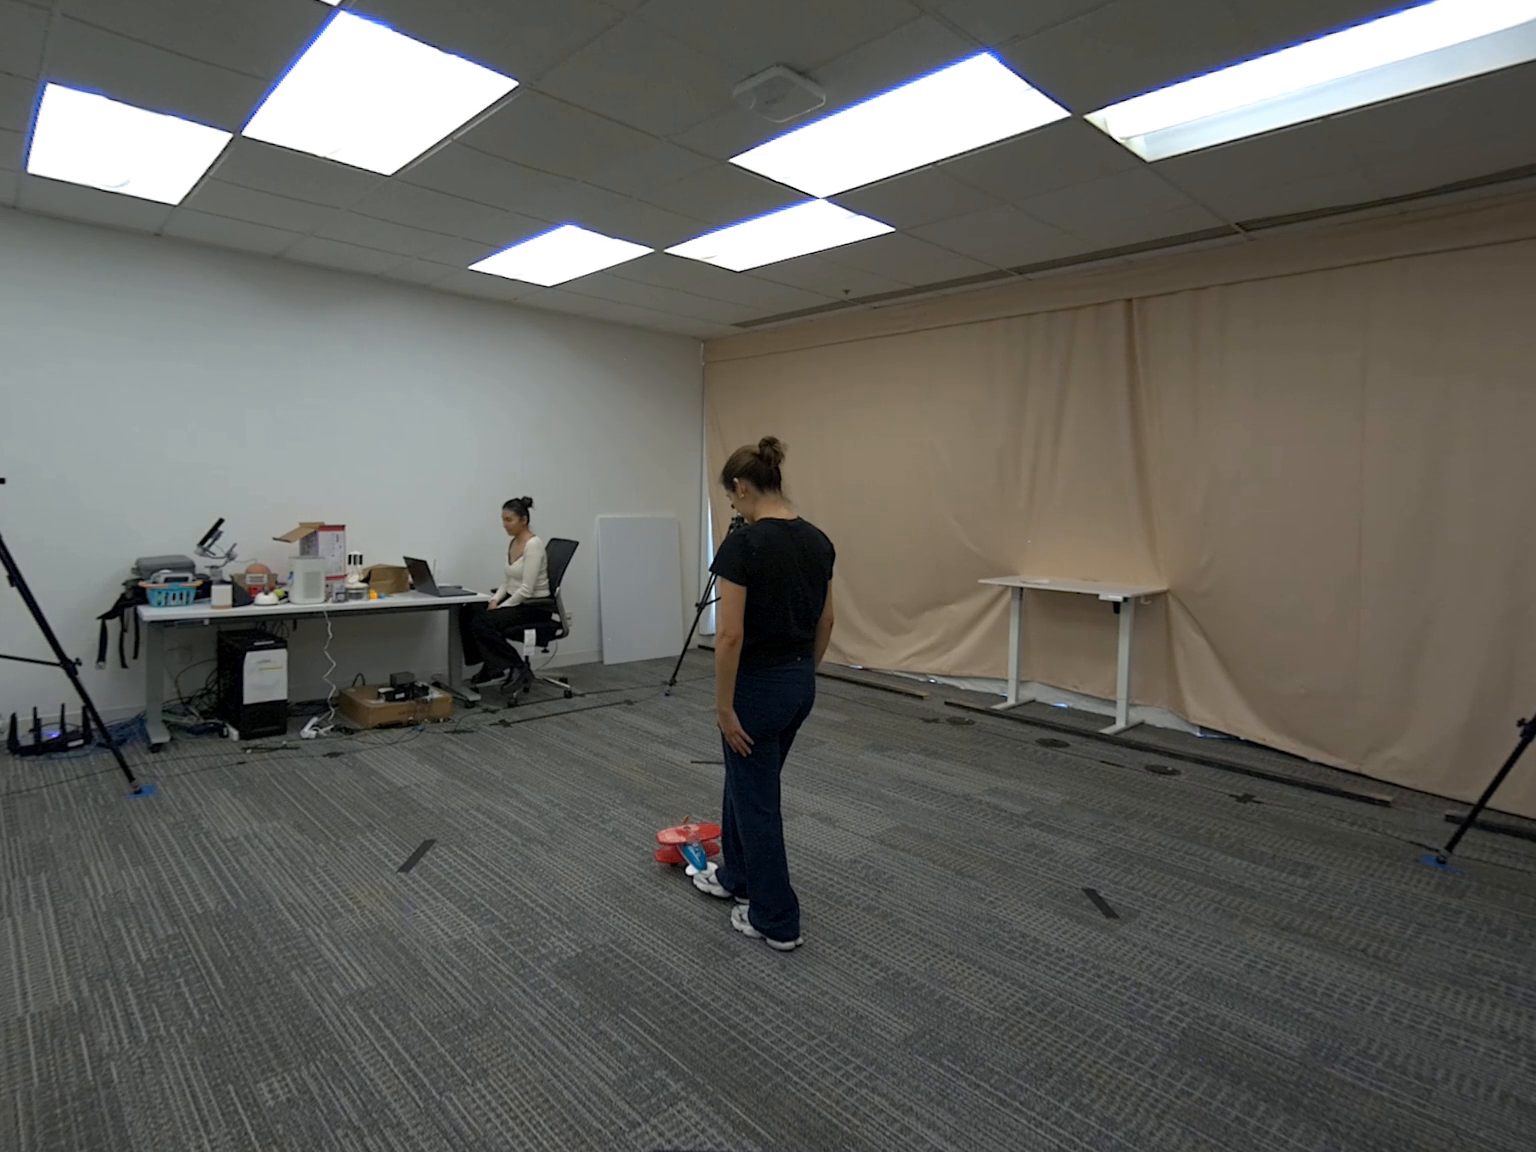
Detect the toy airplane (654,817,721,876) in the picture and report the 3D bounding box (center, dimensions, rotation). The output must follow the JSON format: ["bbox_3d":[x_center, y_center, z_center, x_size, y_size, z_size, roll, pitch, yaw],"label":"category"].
[{"bbox_3d":[-0.273,1.029,3.114,0.265,0.156,0.246,3,5,37],"label":"toy airplane"}]
